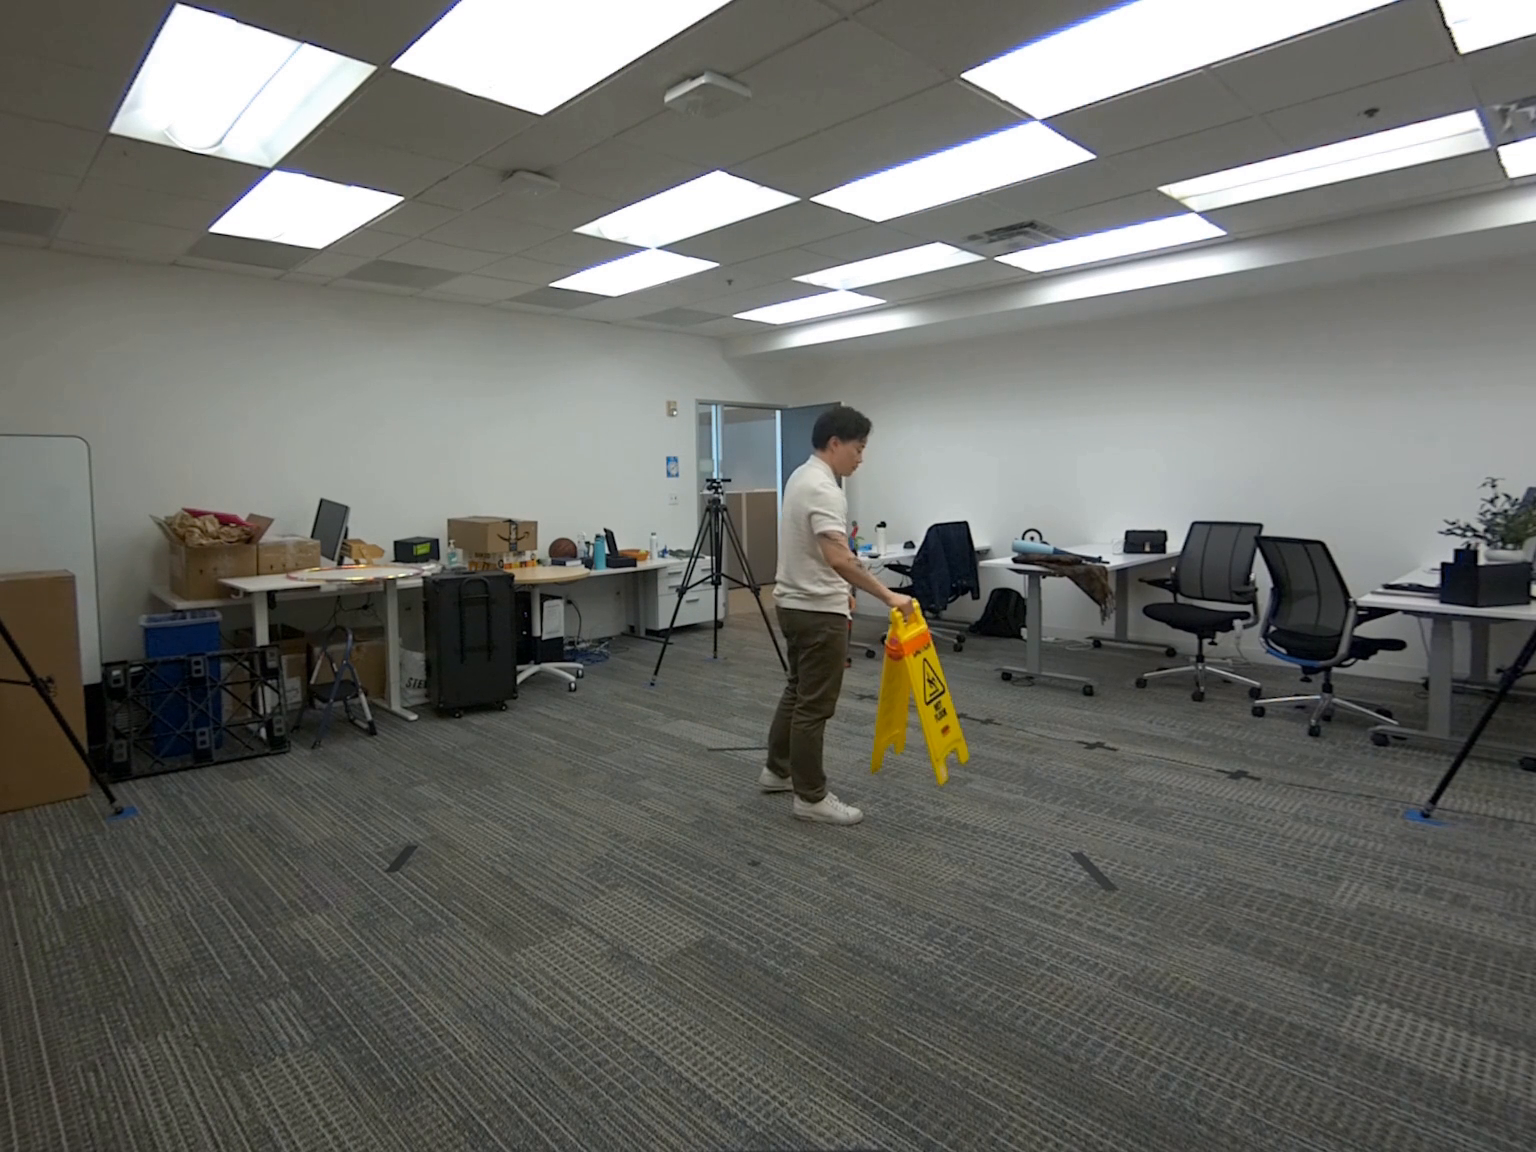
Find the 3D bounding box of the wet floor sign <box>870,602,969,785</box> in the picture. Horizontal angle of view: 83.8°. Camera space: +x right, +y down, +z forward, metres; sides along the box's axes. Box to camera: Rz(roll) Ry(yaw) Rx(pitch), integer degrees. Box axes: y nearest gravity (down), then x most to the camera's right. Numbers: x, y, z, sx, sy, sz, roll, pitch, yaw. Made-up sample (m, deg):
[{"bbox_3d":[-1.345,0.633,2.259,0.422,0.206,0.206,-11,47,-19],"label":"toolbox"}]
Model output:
[{"bbox_3d":[0.551,0.413,3.278,0.297,0.642,0.277,-2,8,35],"label":"wet floor sign"}]
